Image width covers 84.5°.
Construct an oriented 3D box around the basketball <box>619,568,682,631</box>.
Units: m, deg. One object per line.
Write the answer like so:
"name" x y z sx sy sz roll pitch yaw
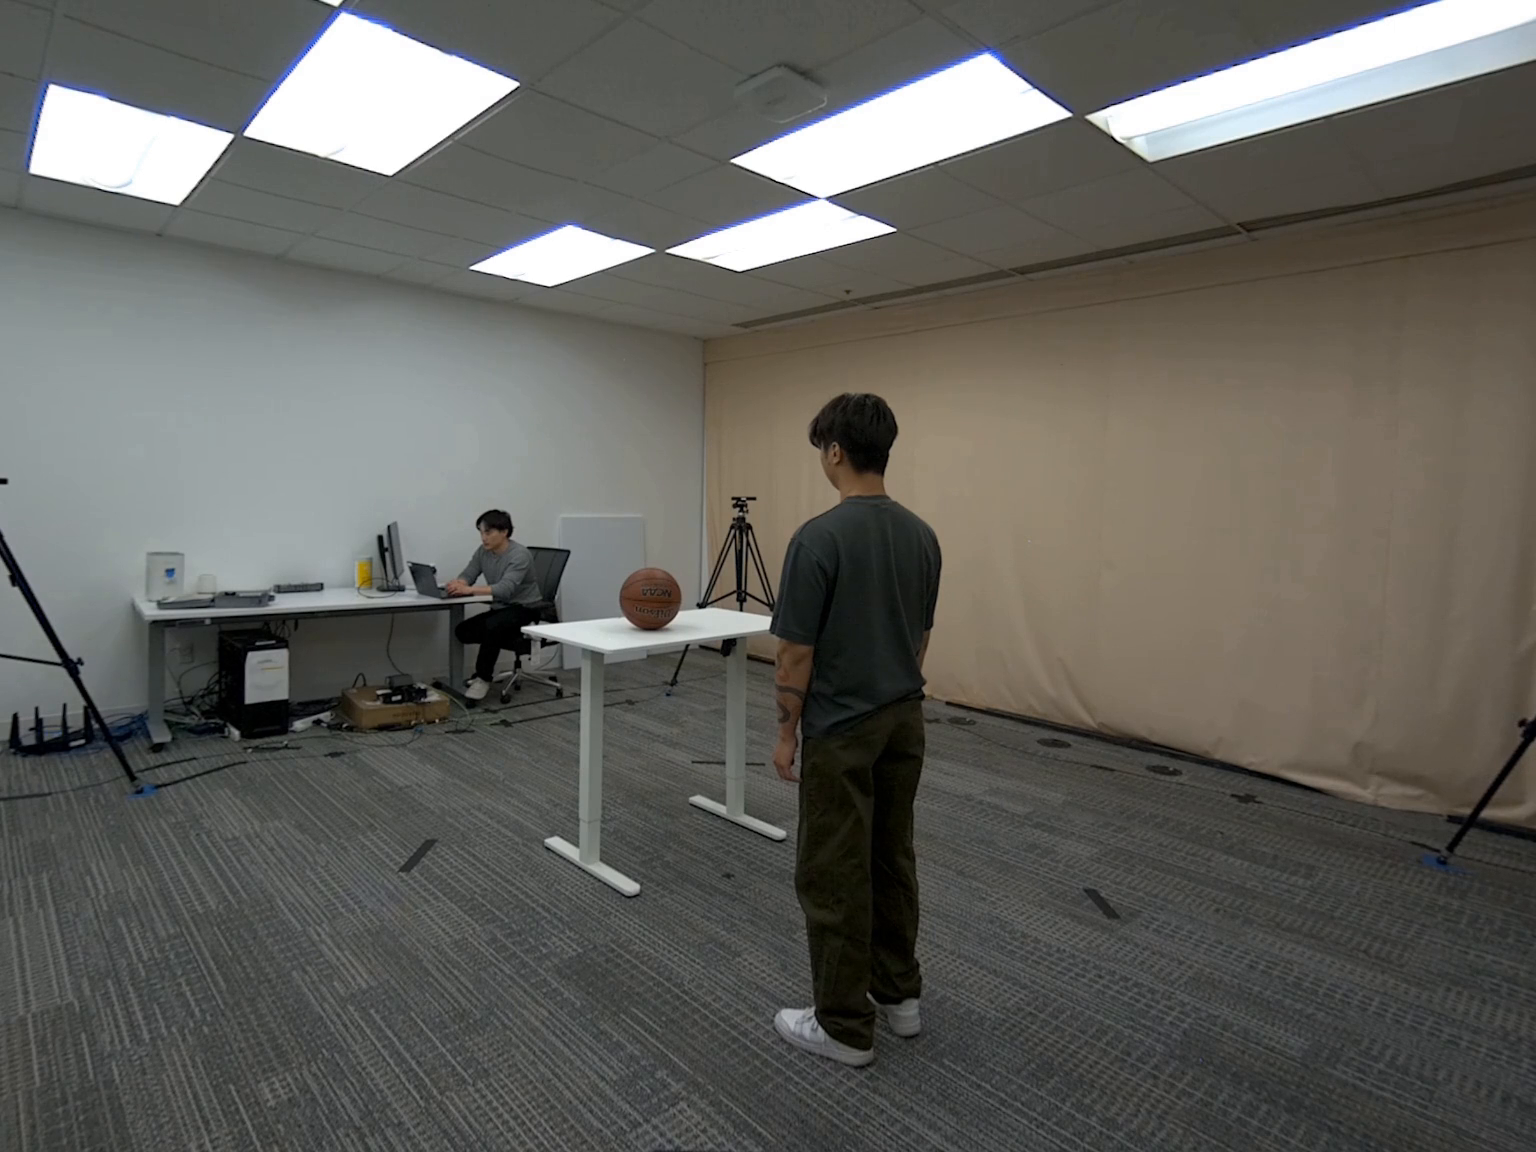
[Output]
"basketball" -0.456 0.087 3.244 0.236 0.235 0.237 1 4 -1
